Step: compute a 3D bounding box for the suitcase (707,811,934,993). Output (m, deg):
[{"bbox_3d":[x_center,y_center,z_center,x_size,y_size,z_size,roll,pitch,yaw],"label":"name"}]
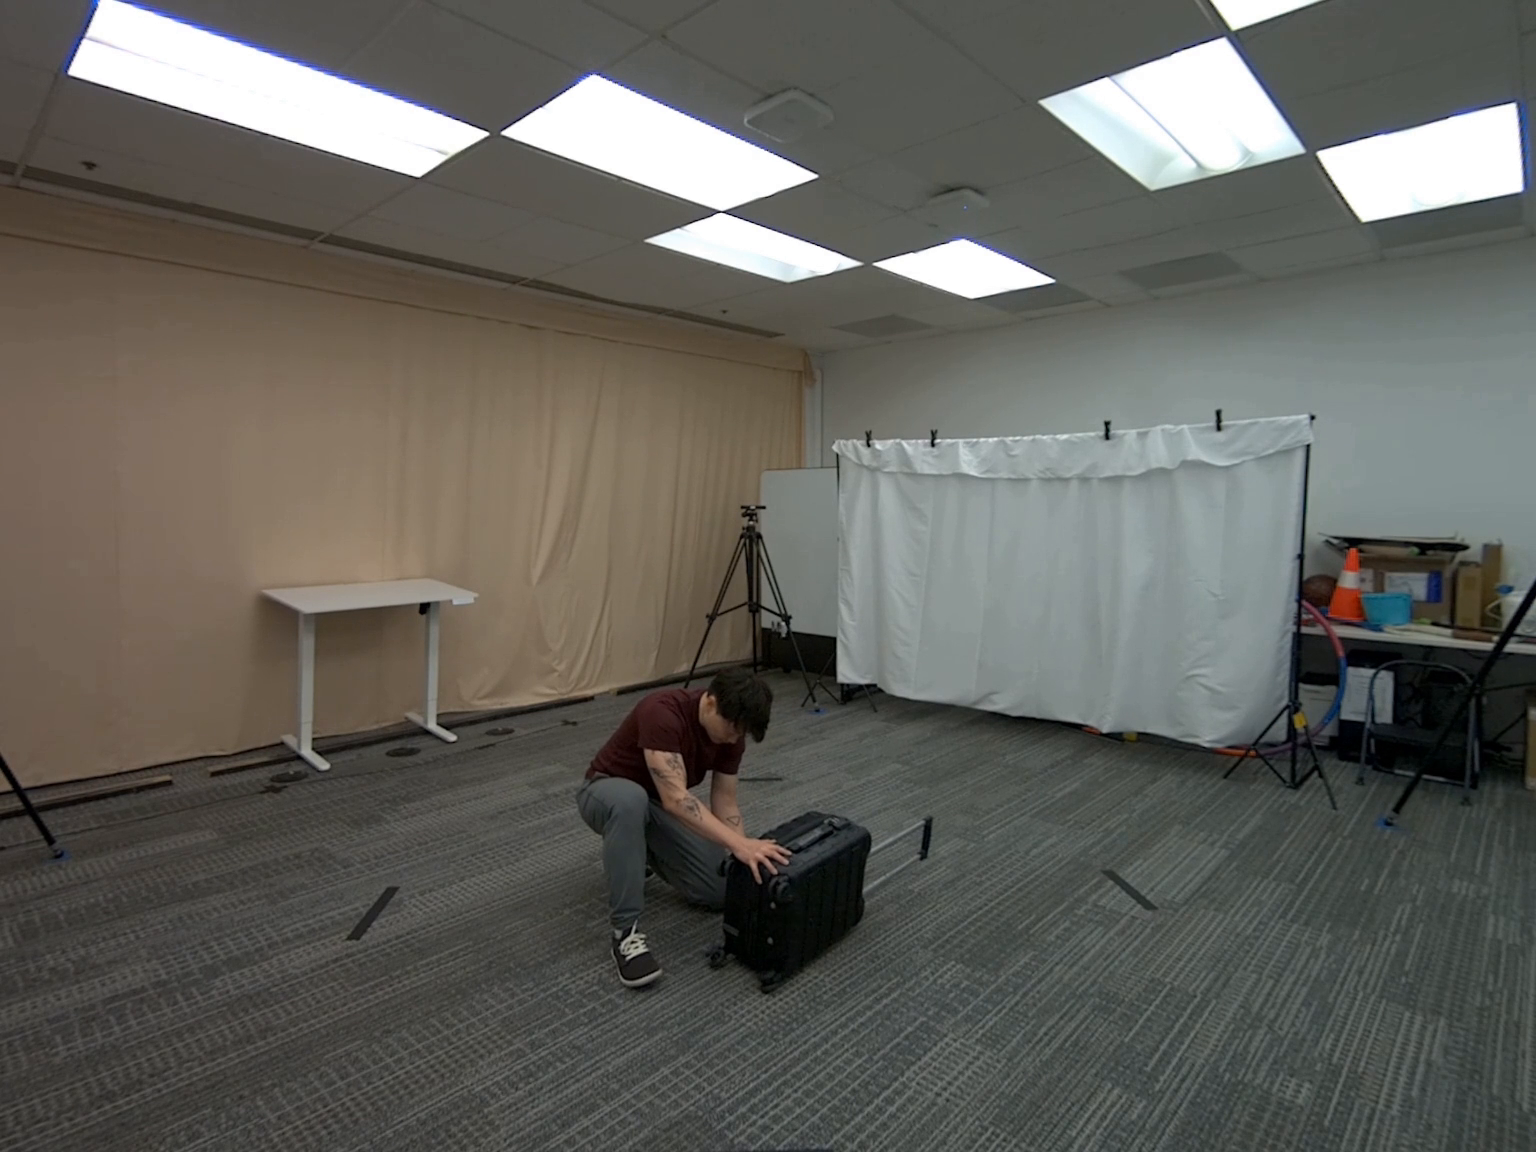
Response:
[{"bbox_3d":[0.225,0.972,2.800,0.266,0.382,0.950,9,9,37],"label":"suitcase"}]
